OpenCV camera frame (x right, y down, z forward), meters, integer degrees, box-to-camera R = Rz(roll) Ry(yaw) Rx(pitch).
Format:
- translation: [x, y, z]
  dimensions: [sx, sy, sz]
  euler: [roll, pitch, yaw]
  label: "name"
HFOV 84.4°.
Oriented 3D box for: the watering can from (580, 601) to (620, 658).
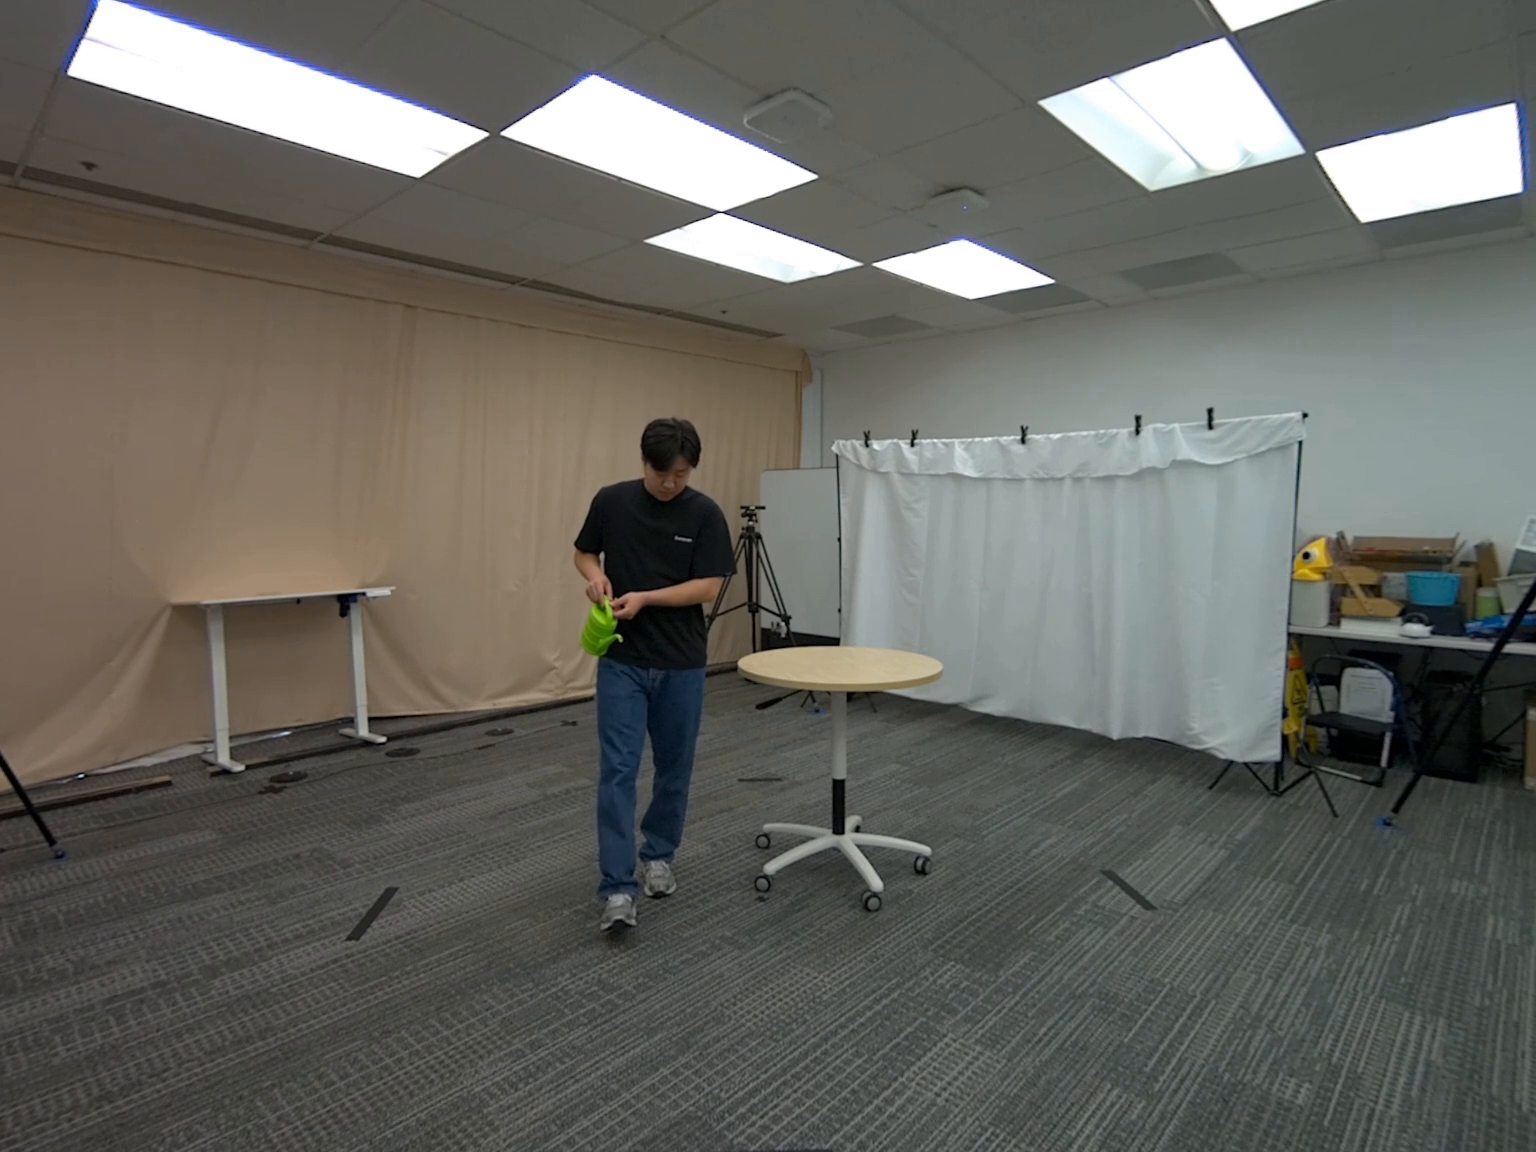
- translation: [-0.553, 0.188, 2.793]
  dimensions: [0.096, 0.176, 0.284]
  euler: [15, 28, -17]
  label: "watering can"
